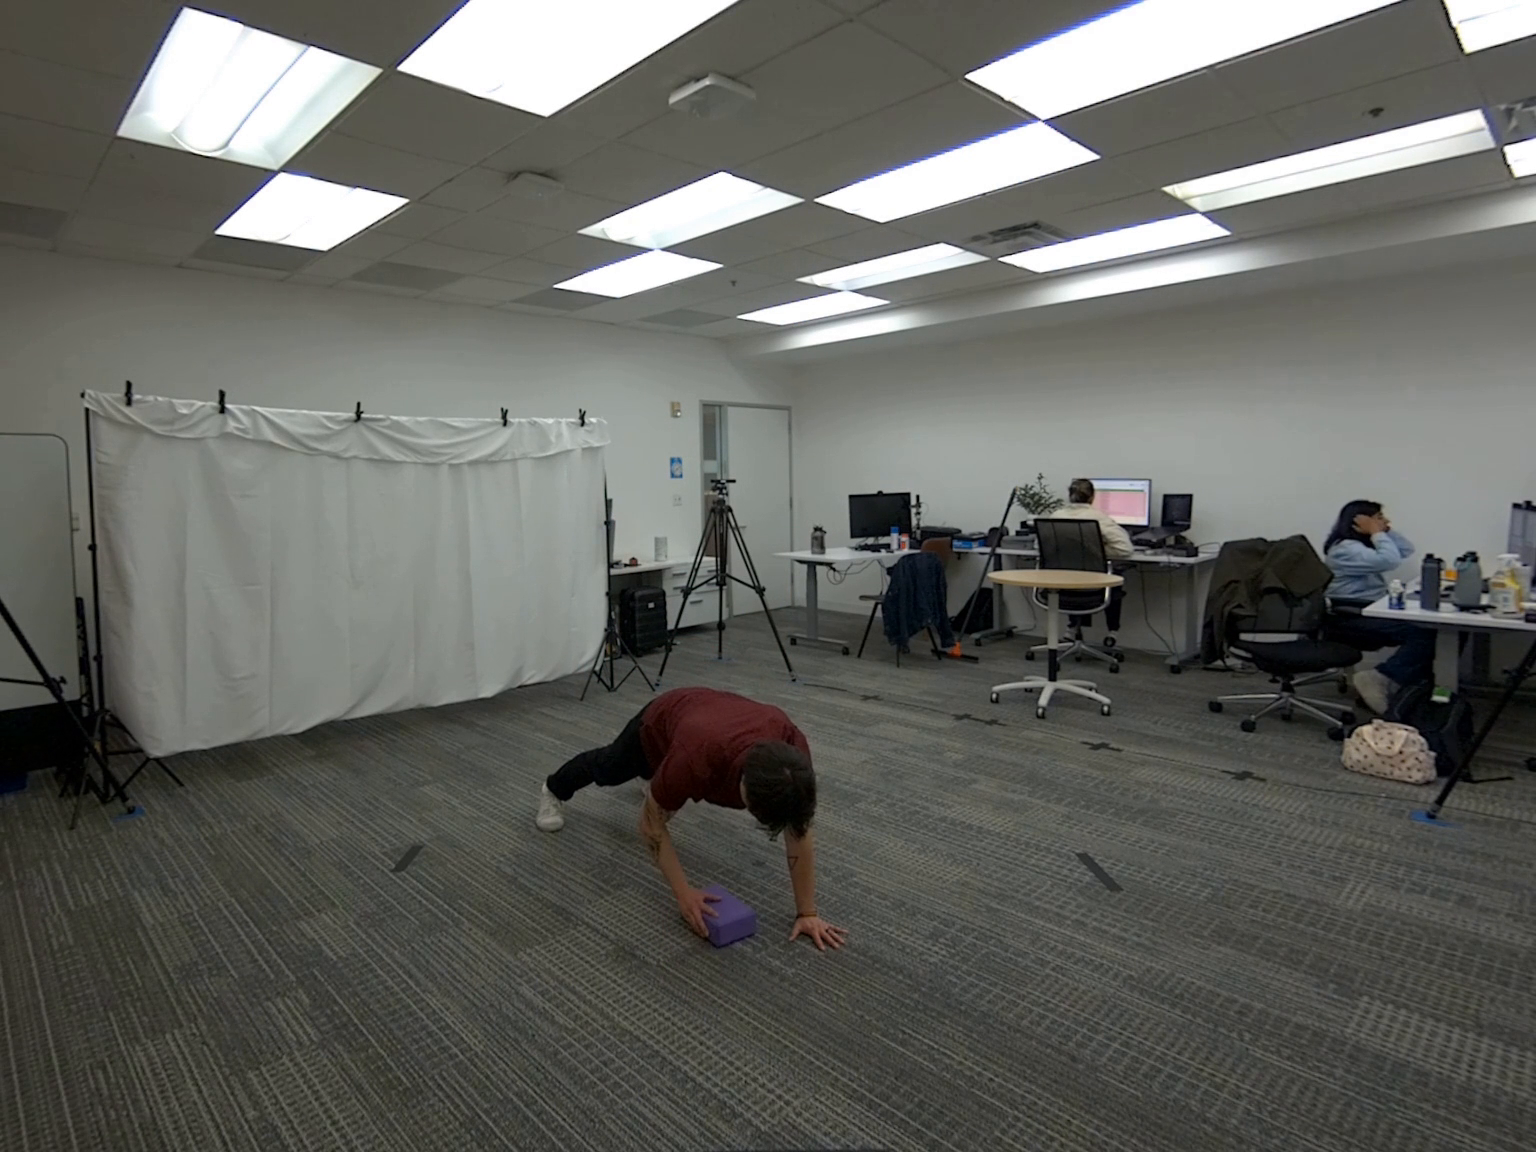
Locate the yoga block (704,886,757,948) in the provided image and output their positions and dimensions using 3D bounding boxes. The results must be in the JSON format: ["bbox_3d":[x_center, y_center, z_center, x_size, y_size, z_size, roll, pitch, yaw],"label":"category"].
[{"bbox_3d":[-0.154,1.057,2.676,0.145,0.076,0.236,-5,8,-35],"label":"yoga block"}]
